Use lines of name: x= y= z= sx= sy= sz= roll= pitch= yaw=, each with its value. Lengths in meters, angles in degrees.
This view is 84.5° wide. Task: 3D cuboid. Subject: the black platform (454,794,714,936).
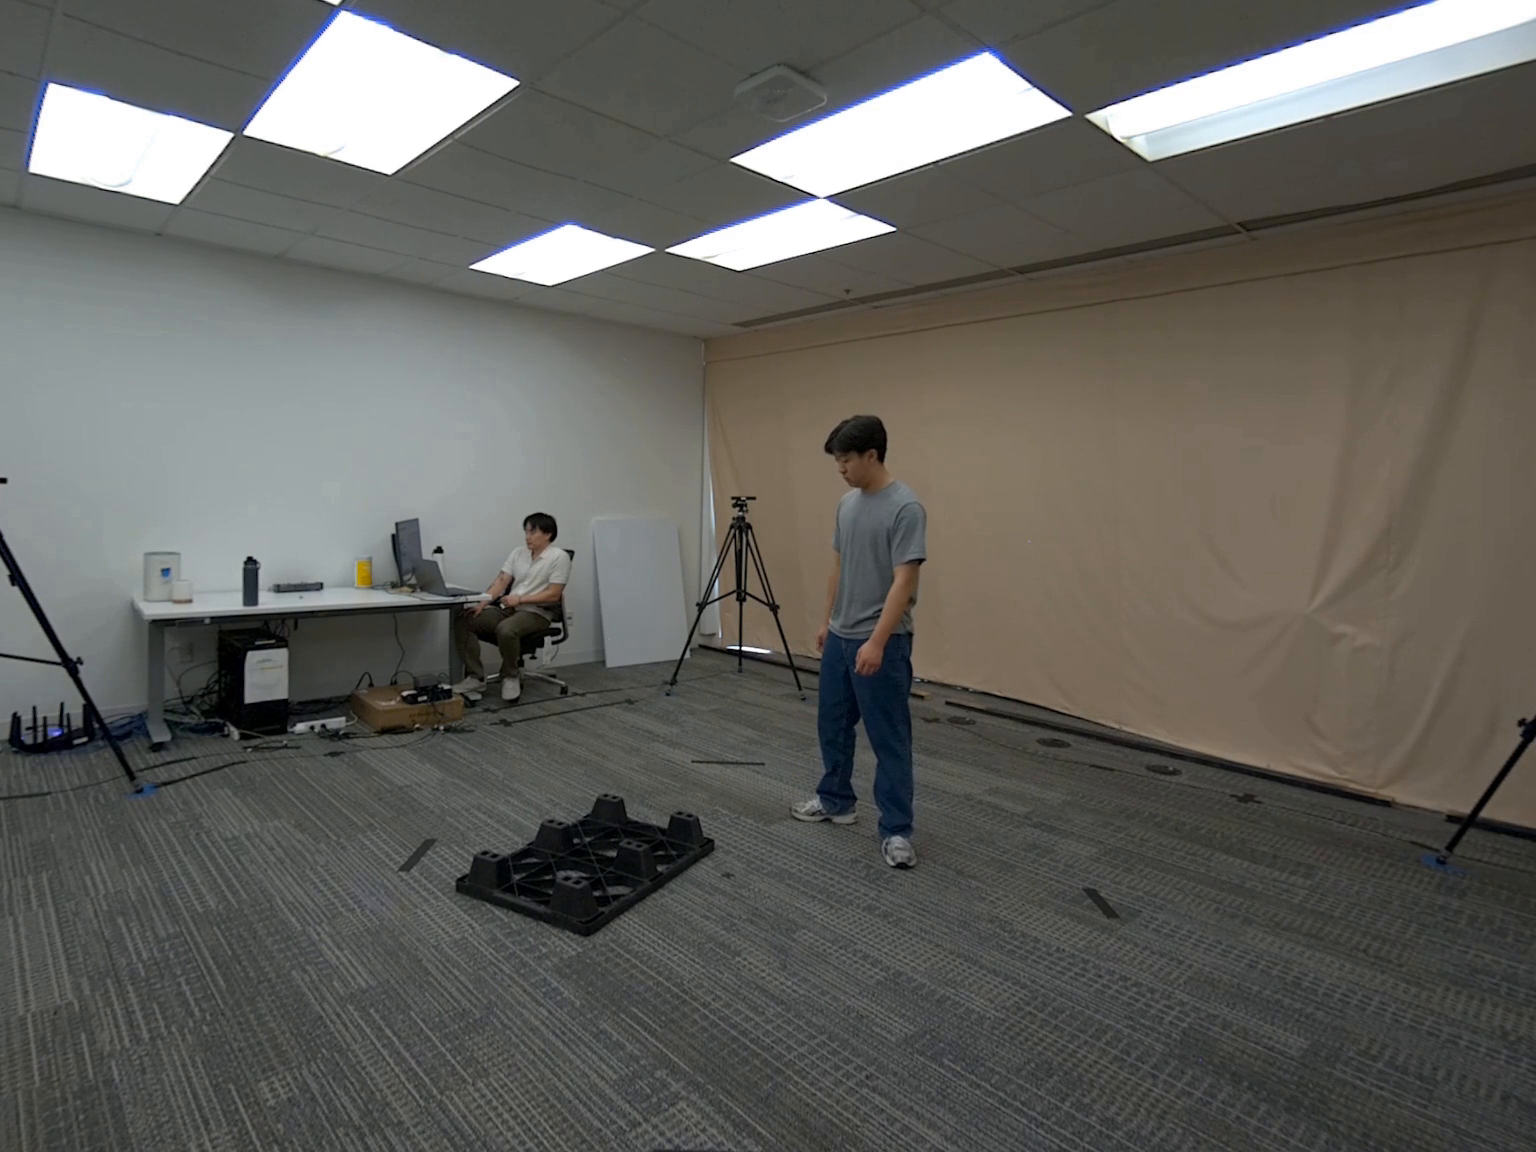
black platform: x=-0.656 y=1.024 z=3.132 sx=0.618 sy=0.143 sz=0.791 roll=4 pitch=6 yaw=27
